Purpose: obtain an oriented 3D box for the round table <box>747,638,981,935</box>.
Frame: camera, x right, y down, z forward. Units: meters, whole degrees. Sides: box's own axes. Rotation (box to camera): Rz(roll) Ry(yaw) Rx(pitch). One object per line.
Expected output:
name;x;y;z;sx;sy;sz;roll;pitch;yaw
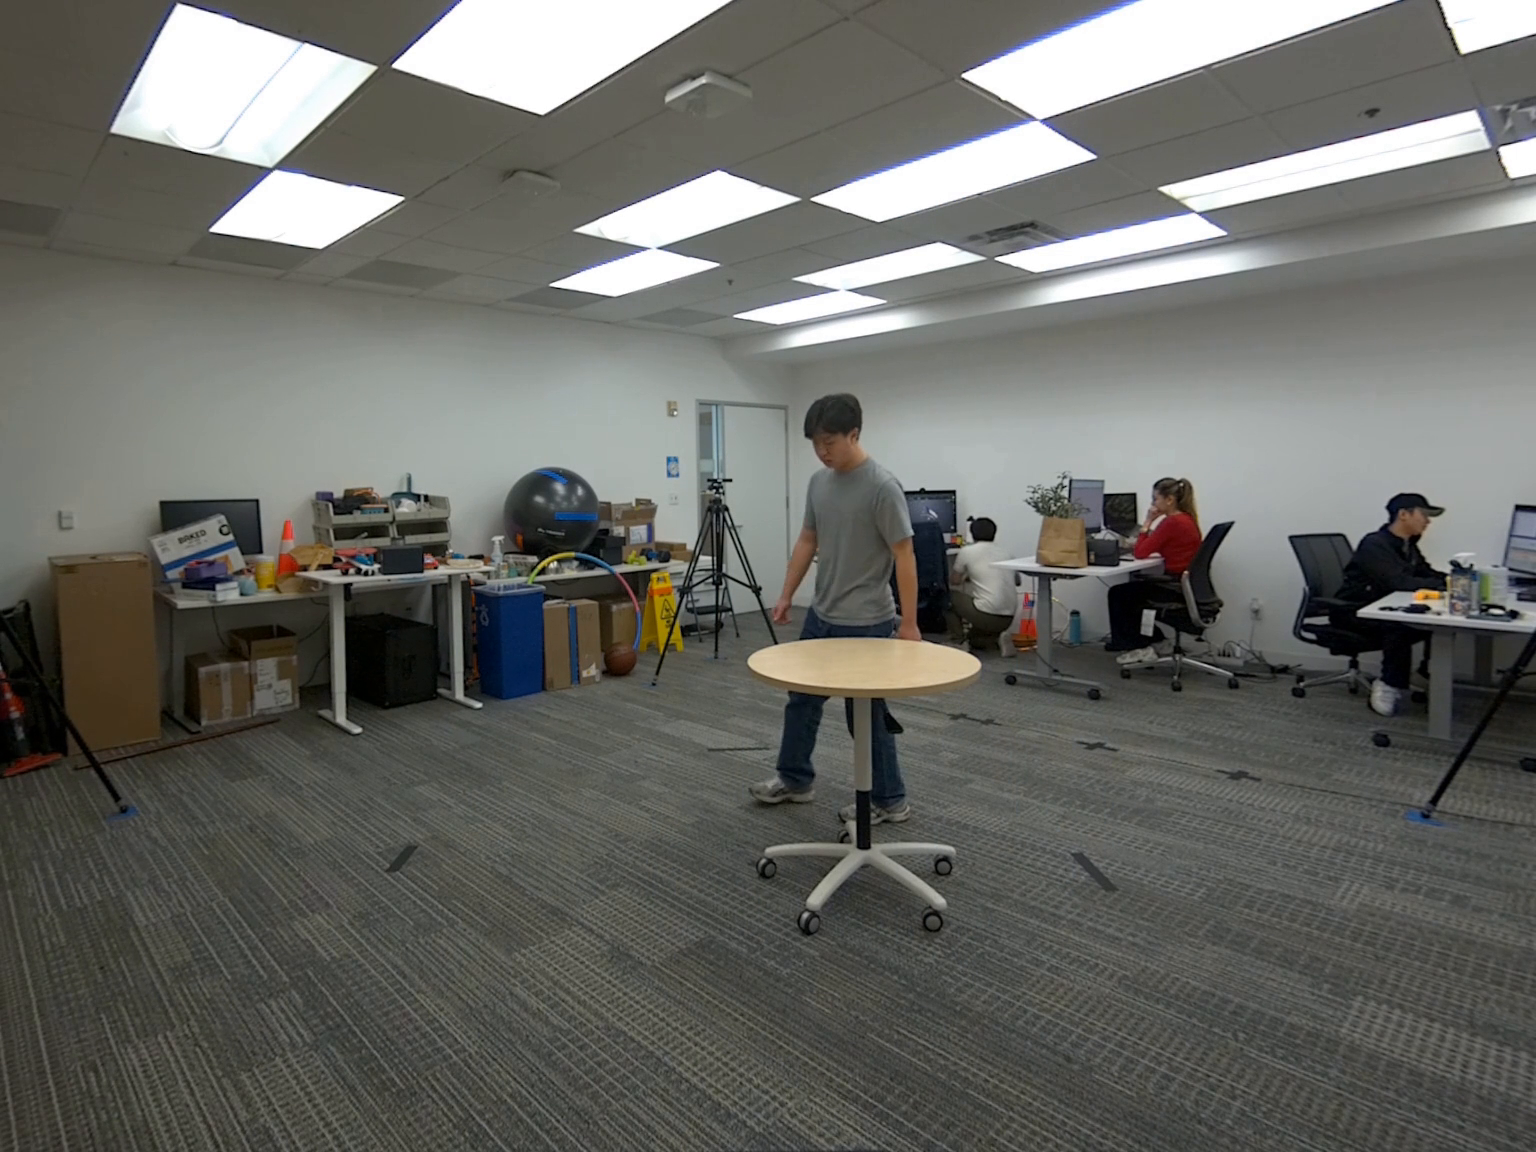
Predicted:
round table;0.323;0.677;2.885;0.763;0.791;0.768;-1;5;-2
